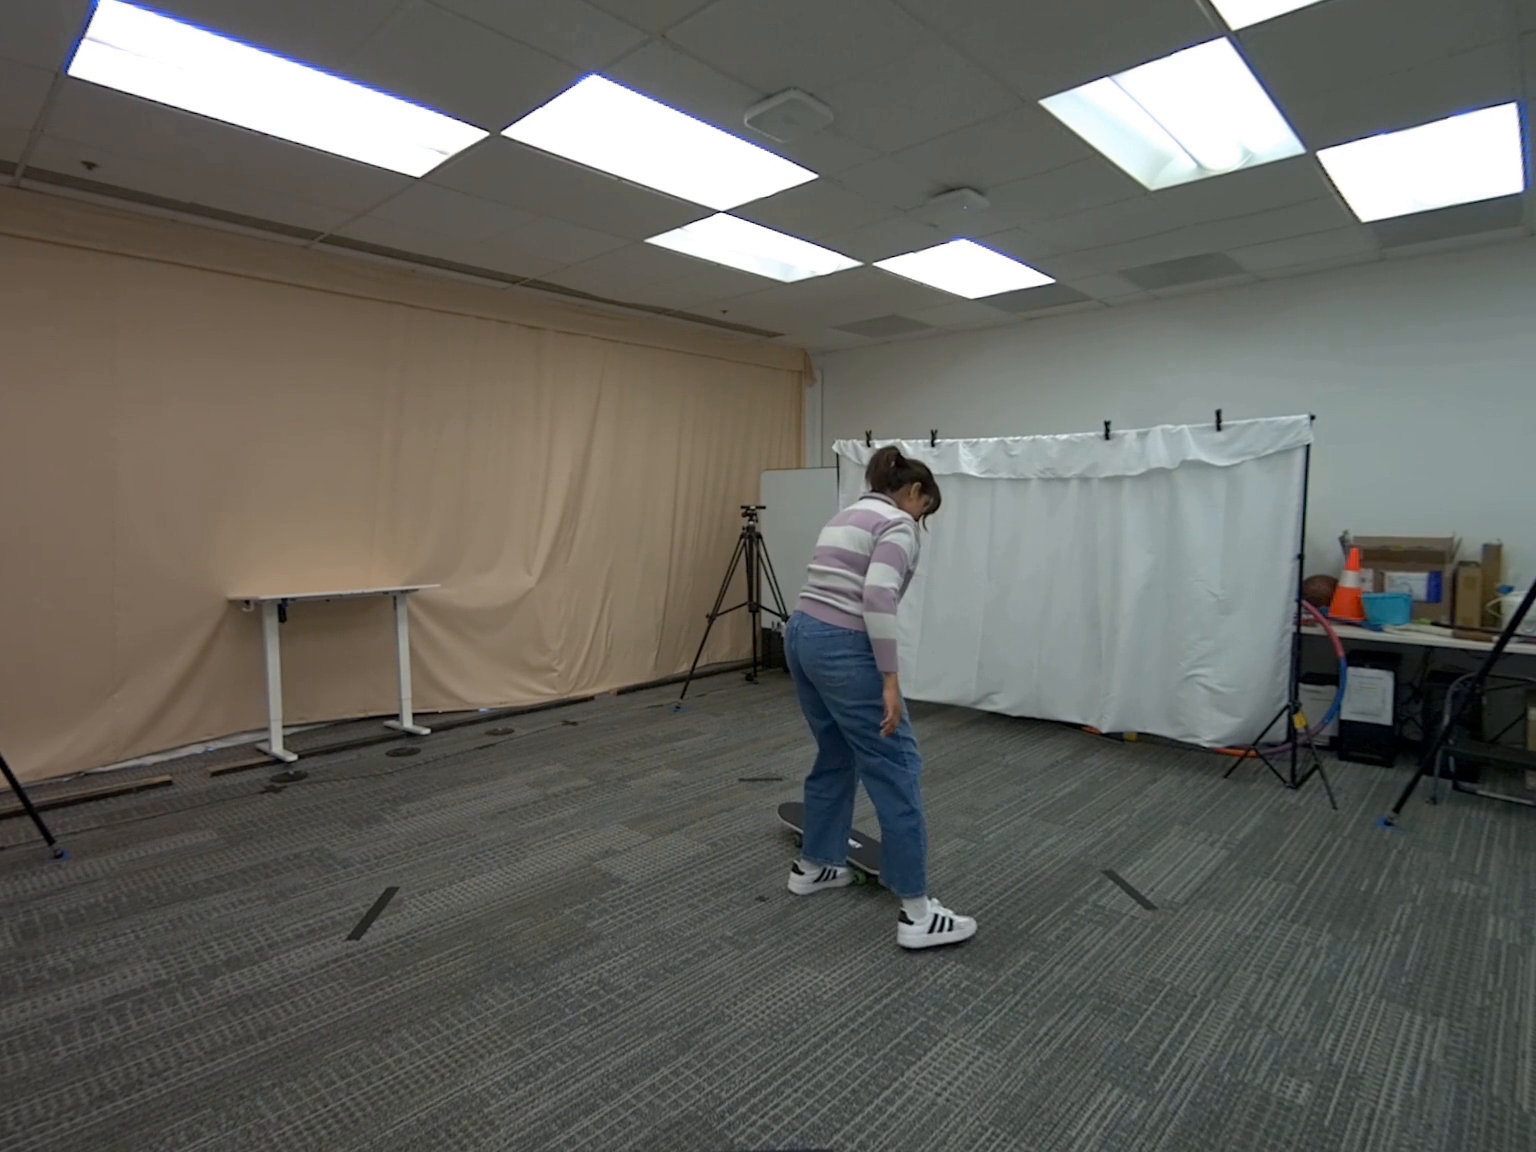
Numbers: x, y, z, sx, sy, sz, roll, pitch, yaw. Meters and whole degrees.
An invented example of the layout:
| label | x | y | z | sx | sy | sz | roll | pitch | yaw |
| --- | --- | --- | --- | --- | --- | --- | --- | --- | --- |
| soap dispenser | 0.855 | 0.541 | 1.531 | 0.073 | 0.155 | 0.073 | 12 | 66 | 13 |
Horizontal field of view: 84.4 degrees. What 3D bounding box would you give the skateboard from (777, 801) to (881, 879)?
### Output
| label | x | y | z | sx | sy | sz | roll | pitch | yaw |
| --- | --- | --- | --- | --- | --- | --- | --- | --- | --- |
| skateboard | 0.298 | 1.054 | 3.305 | 0.188 | 0.110 | 0.809 | -2 | 5 | -32 |
